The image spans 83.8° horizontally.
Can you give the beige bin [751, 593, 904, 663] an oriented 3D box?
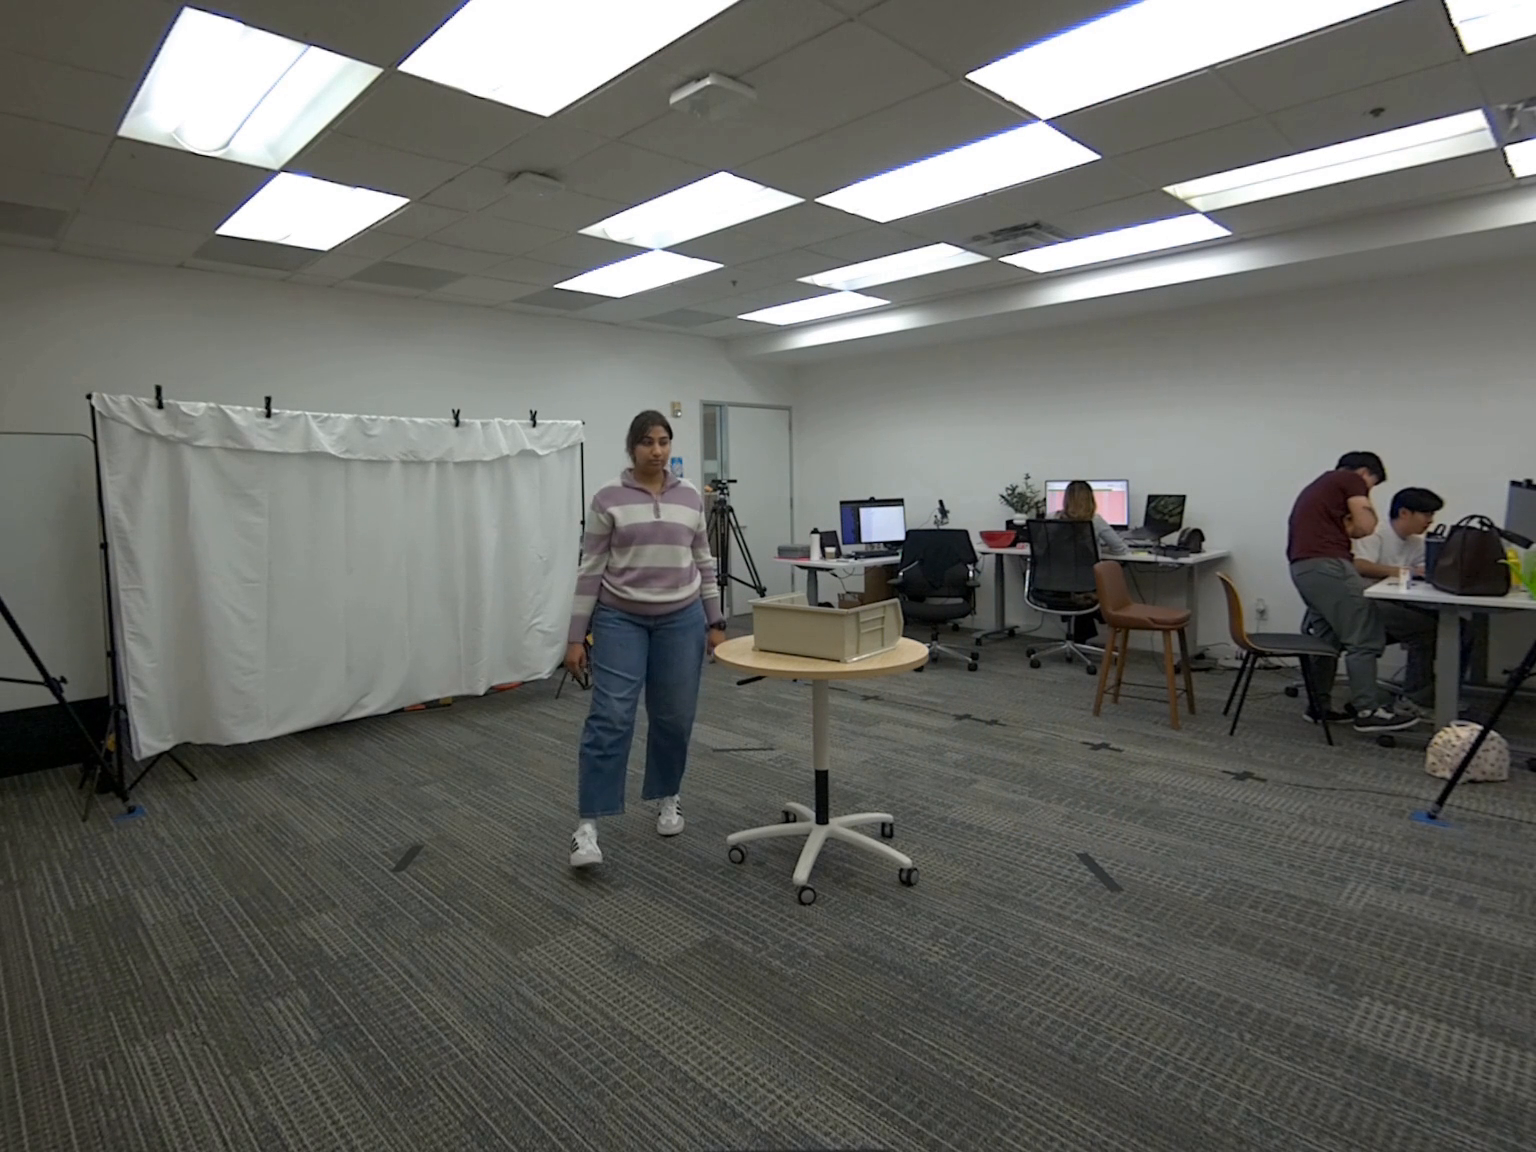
[{"bbox_3d":[0.212,0.174,3.064,0.435,0.188,0.368,4,9,39],"label":"beige bin"}]
